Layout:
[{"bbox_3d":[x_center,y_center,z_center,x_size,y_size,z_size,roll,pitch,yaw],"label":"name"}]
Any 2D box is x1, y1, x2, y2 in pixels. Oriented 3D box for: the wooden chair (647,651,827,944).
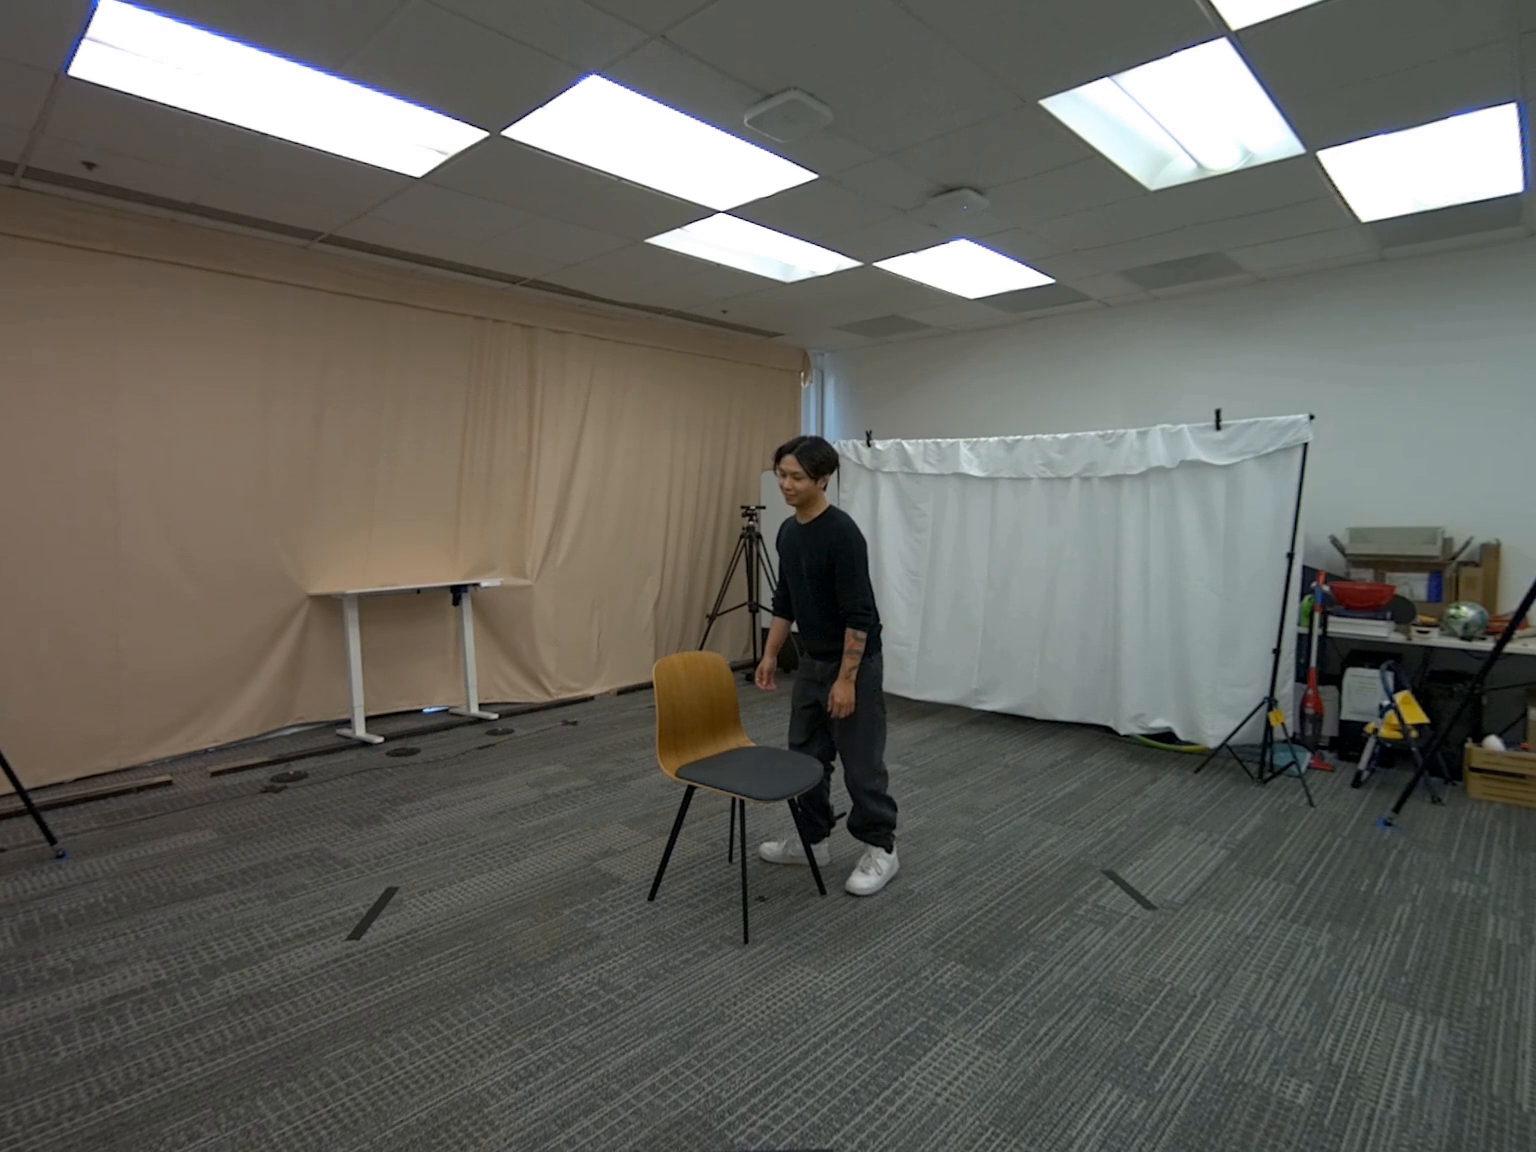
[{"bbox_3d":[-0.101,0.719,2.951,0.539,0.877,0.463,-4,0,40],"label":"wooden chair"}]
